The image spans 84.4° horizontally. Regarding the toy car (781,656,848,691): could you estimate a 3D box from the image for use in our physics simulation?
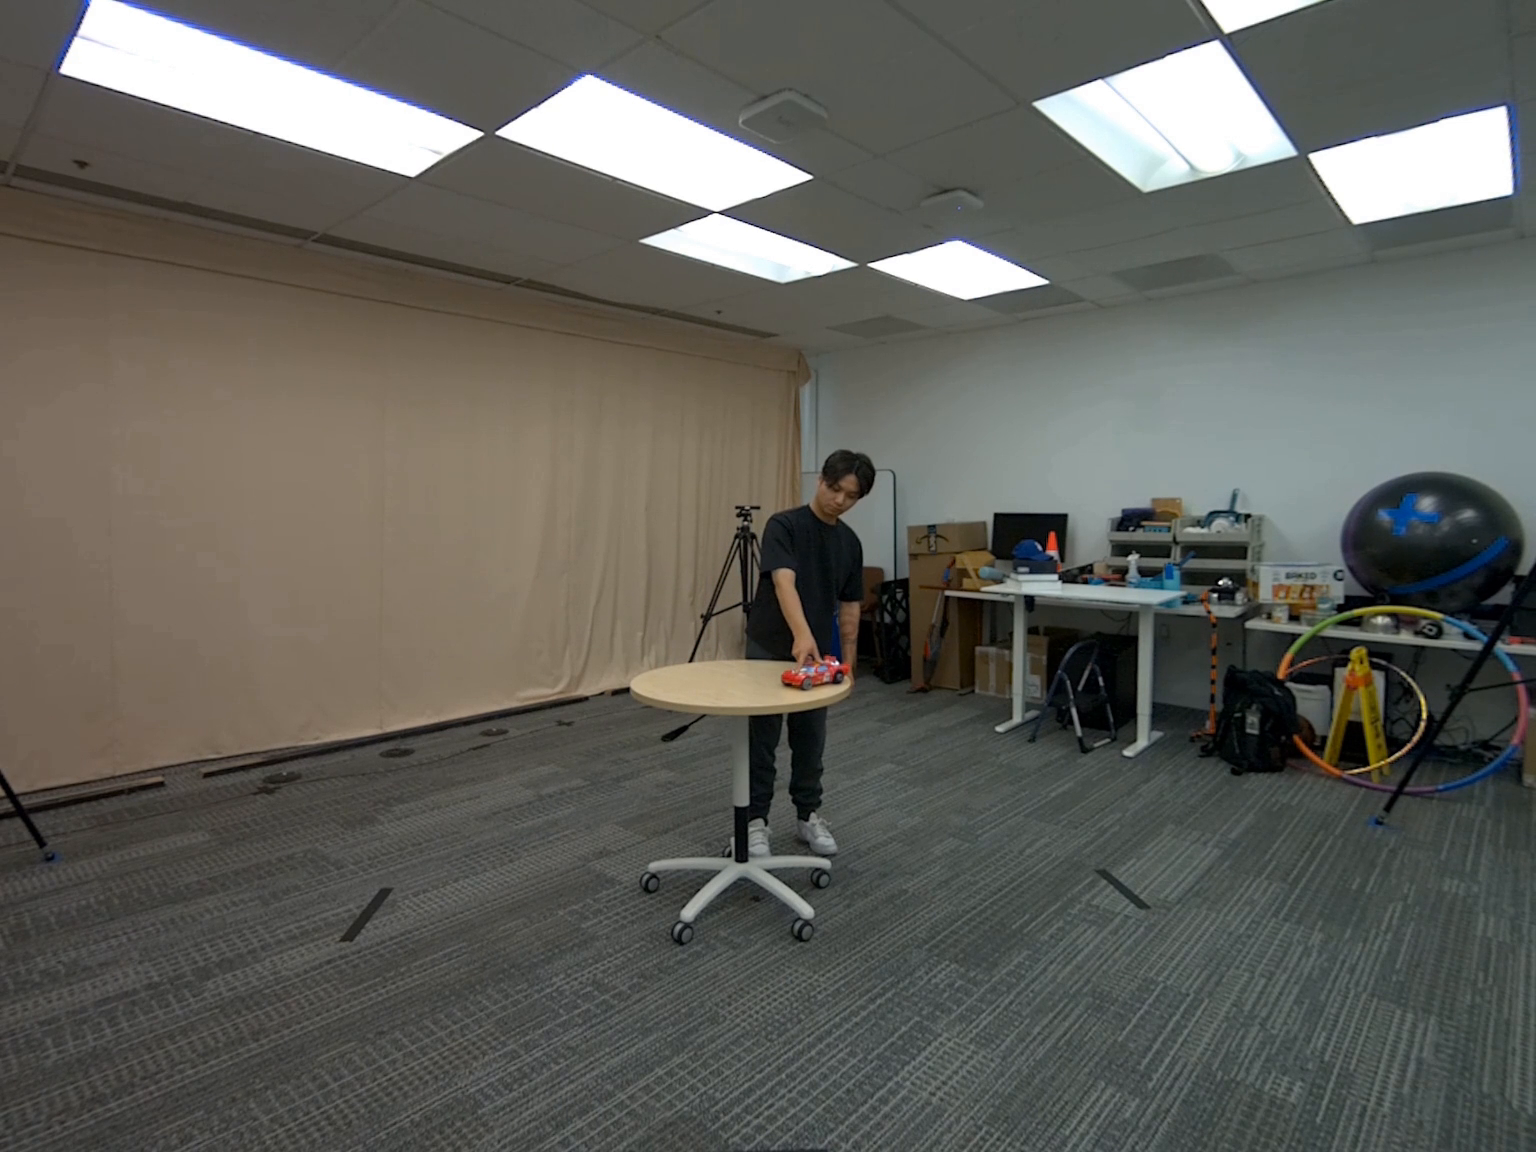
[{"bbox_3d":[0.170,0.335,2.869,0.248,0.082,0.134,-18,14,-35],"label":"toy car"}]
